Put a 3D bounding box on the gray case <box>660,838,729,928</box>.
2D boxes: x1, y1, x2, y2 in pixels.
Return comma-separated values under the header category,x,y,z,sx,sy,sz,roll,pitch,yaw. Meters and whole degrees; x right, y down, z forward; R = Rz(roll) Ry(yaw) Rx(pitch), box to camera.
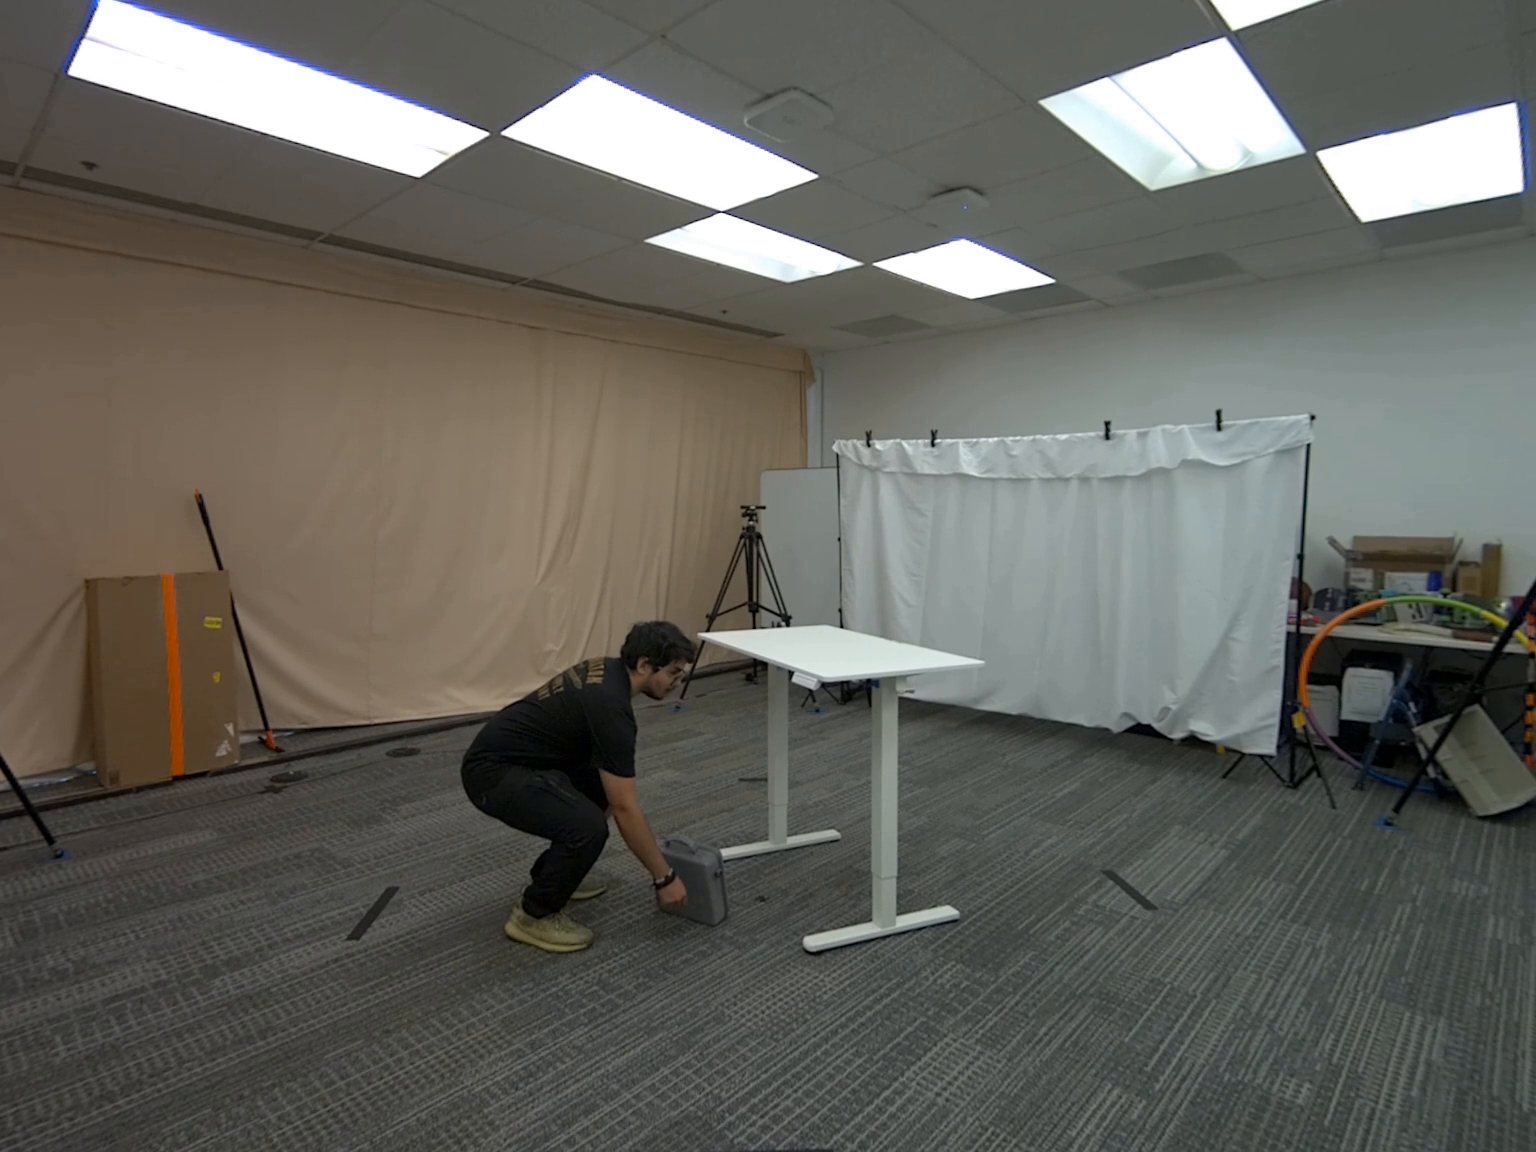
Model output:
category,x,y,z,sx,sy,sz,roll,pitch,yaw
gray case,-0.263,1.028,2.846,0.265,0.258,0.102,2,14,33
